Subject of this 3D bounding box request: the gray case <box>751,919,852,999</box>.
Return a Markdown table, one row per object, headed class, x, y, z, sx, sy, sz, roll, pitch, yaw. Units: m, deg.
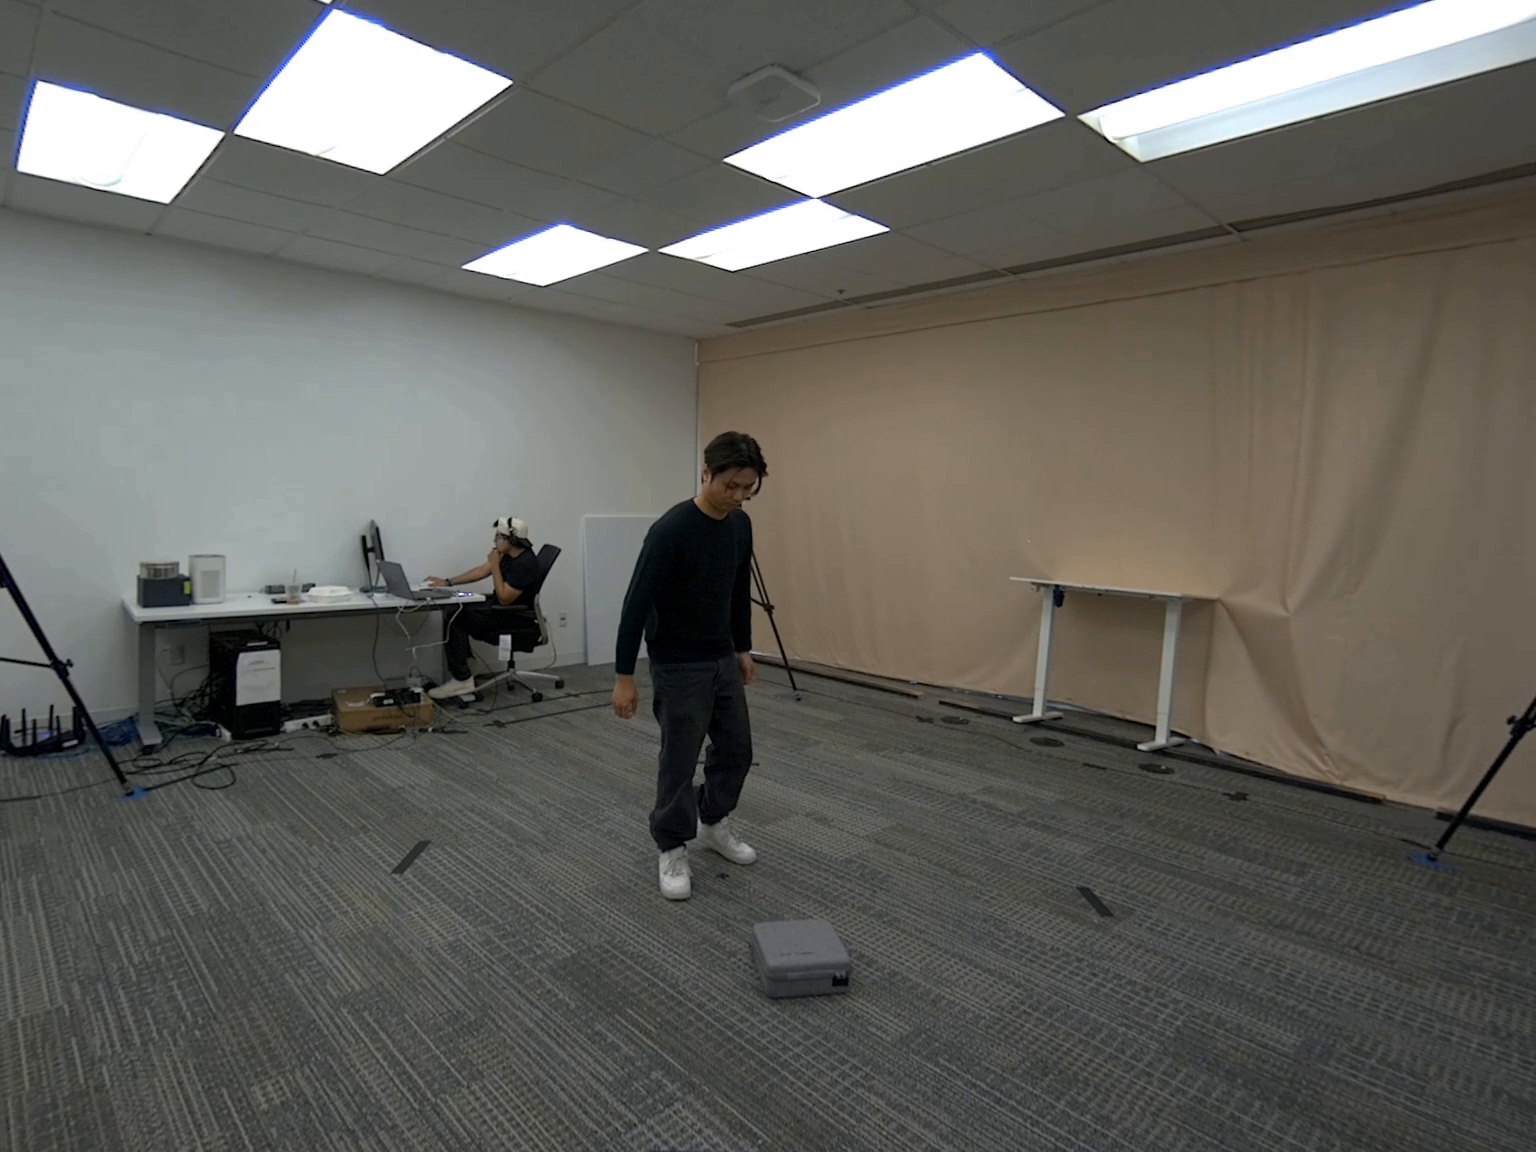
| class | x | y | z | sx | sy | sz | roll | pitch | yaw |
| --- | --- | --- | --- | --- | --- | --- | --- | --- | --- |
| gray case | 0.085 | 1.113 | 2.472 | 0.255 | 0.104 | 0.263 | 0 | 4 | -10 |
